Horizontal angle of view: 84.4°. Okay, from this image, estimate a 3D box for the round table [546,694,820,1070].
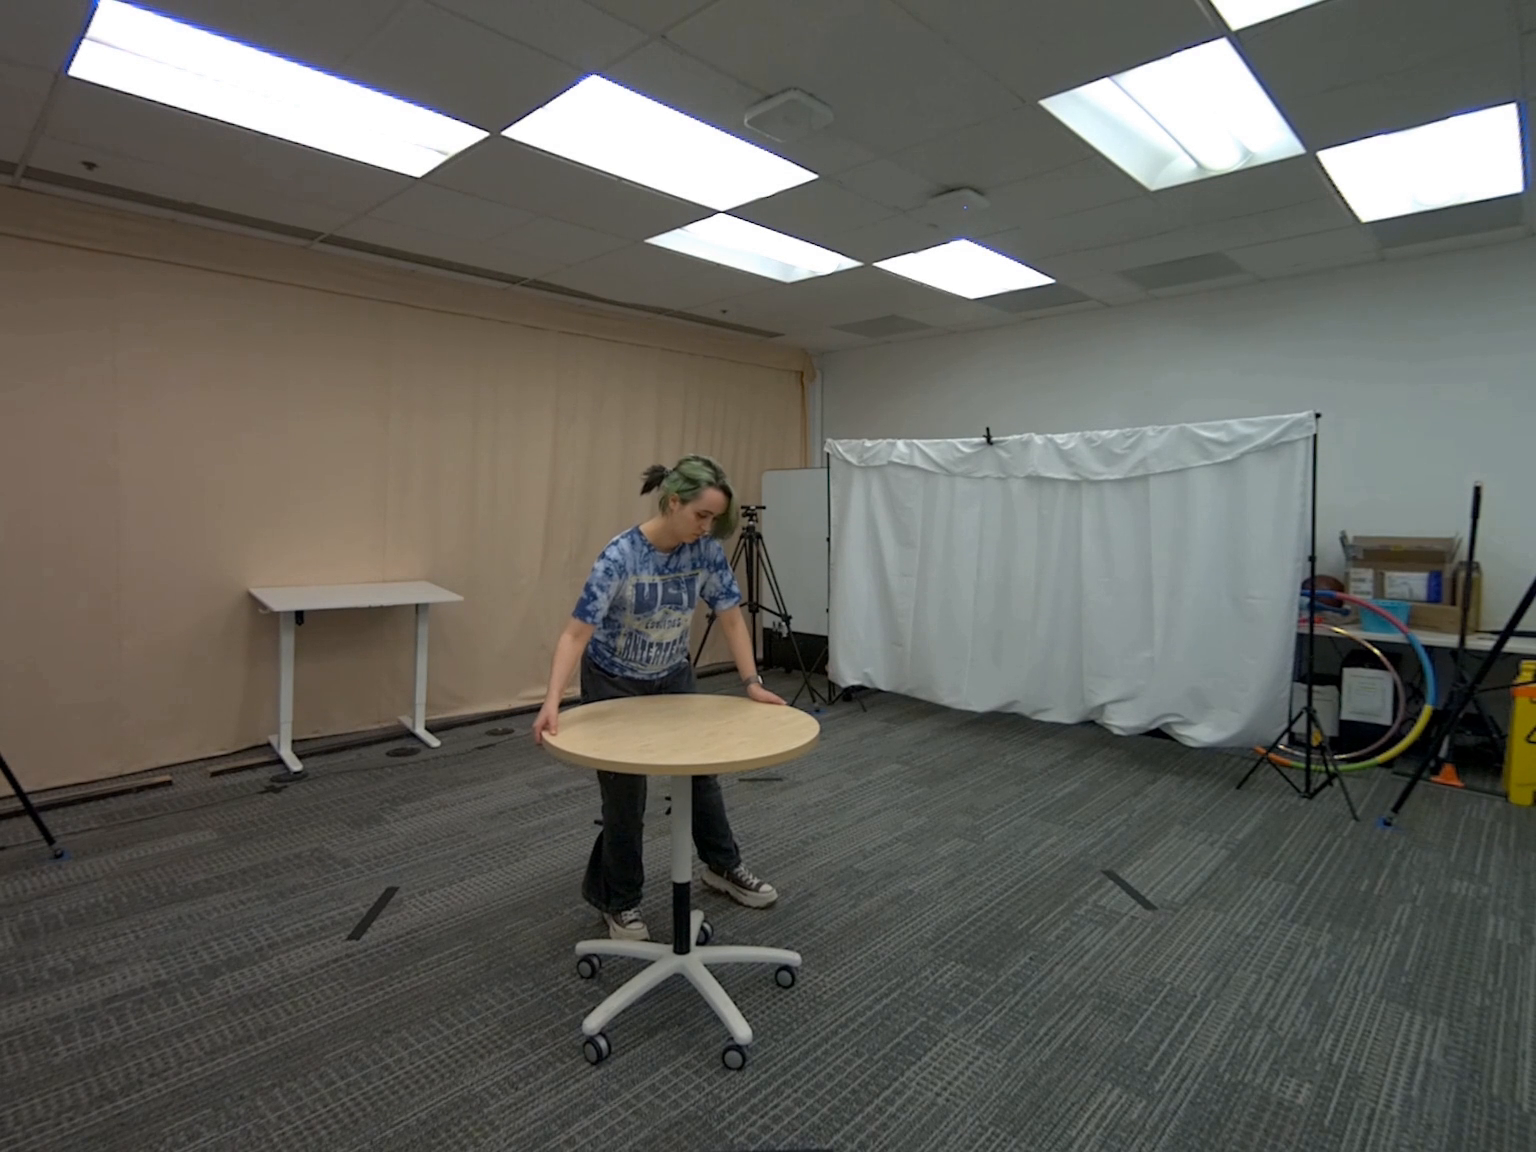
[{"bbox_3d":[-0.234,0.806,2.358,0.763,0.792,0.767,0,4,-2],"label":"round table"}]
